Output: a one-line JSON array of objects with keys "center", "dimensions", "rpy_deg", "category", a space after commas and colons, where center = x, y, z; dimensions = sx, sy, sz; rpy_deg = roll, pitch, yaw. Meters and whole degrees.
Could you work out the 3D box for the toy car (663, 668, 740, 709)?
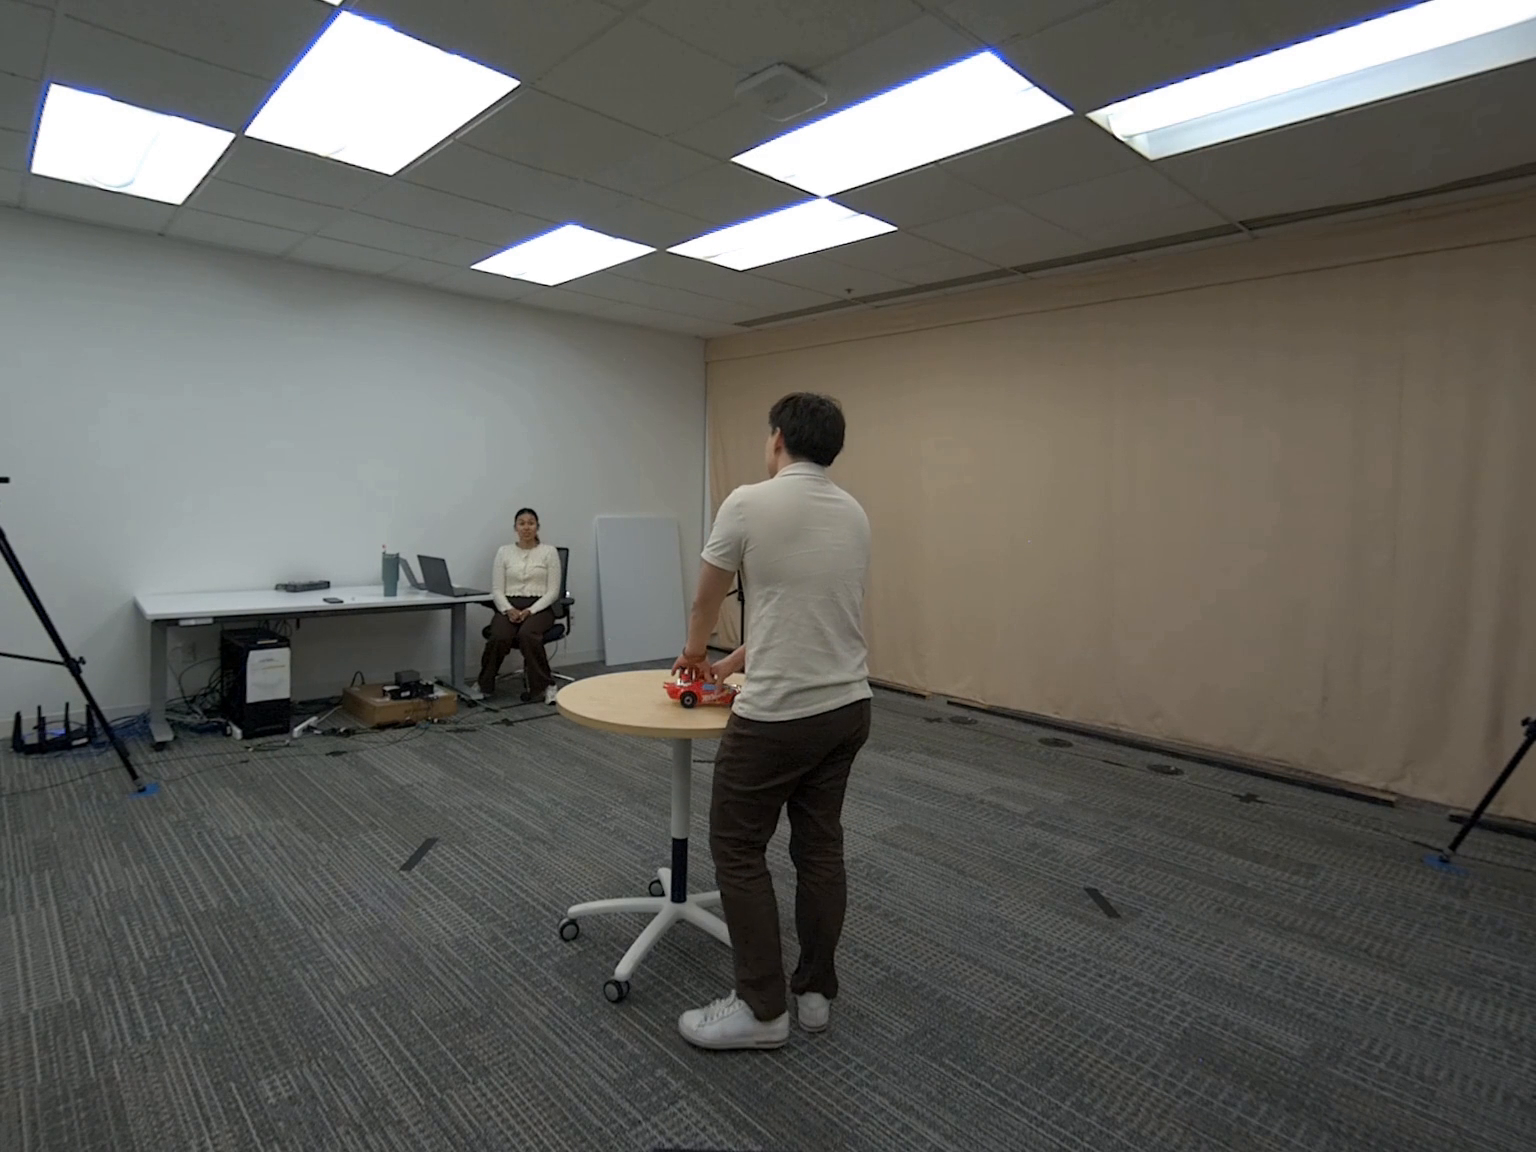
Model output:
[{"center": [-0.193, 0.350, 2.458], "dimensions": [0.253, 0.083, 0.131], "rpy_deg": [12, 3, -6], "category": "toy car"}]
